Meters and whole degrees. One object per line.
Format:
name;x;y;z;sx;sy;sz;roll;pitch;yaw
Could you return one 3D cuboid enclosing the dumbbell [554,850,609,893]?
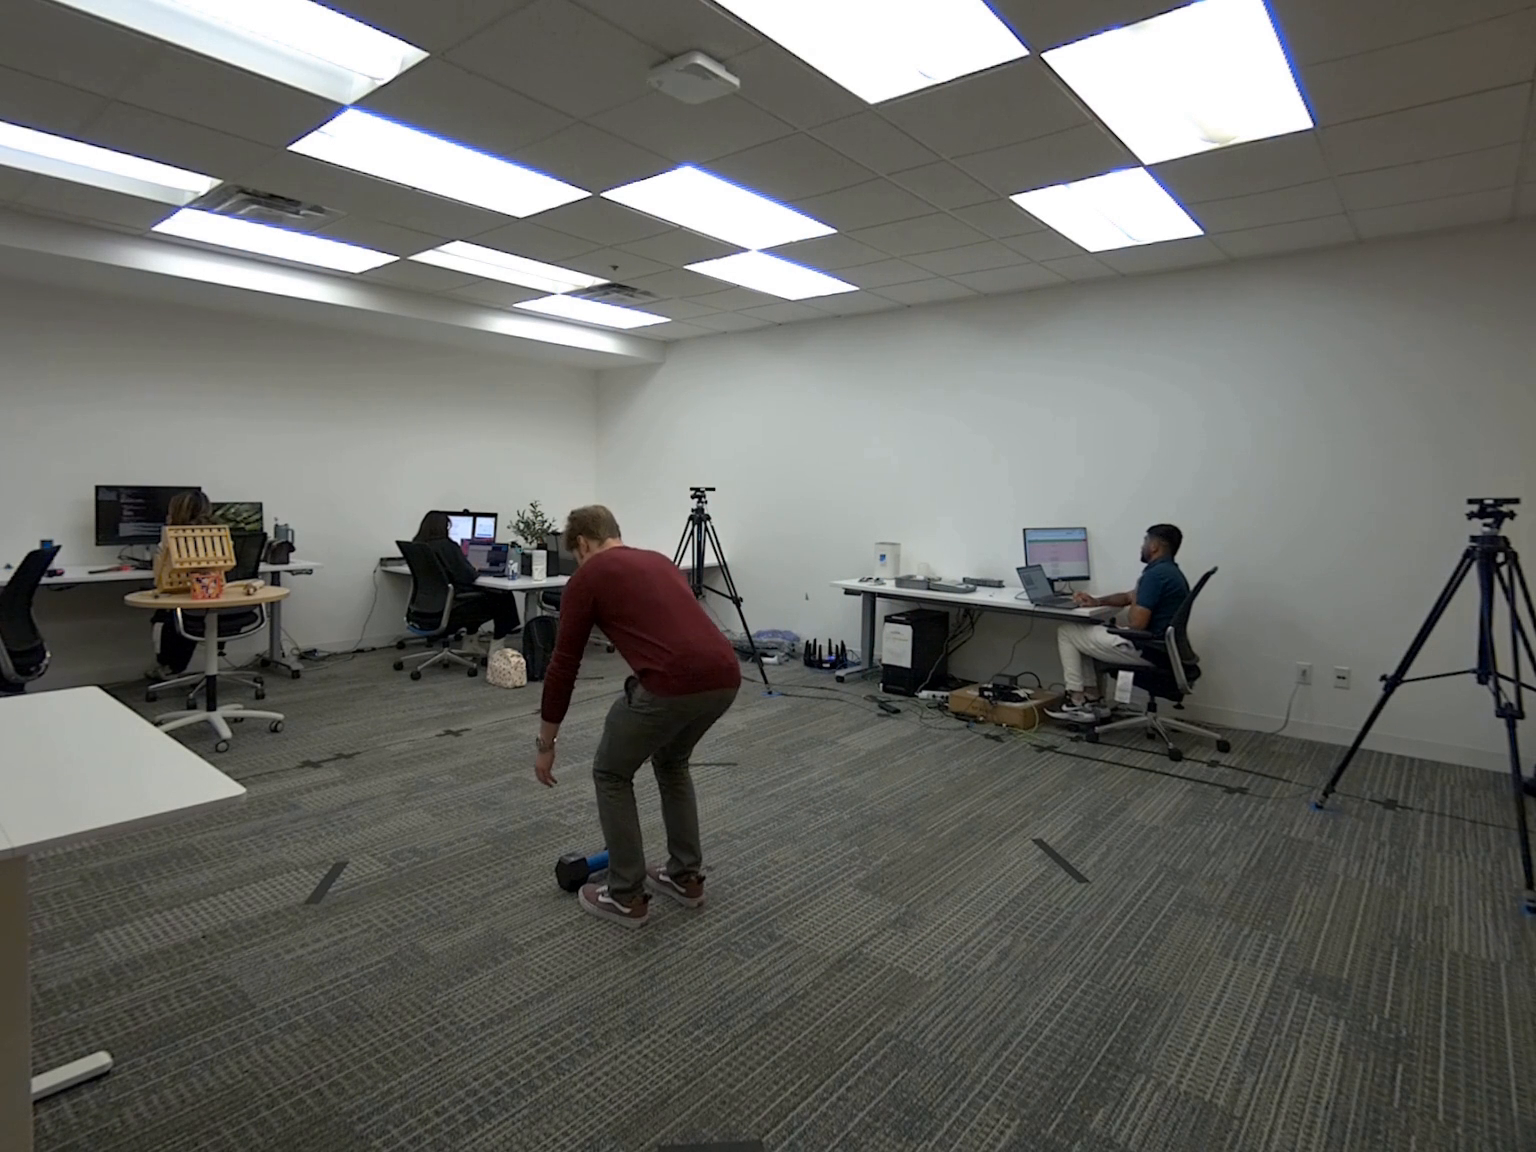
dumbbell;-0.616;1.015;3.018;0.285;0.126;0.109;-4;-25;-46
